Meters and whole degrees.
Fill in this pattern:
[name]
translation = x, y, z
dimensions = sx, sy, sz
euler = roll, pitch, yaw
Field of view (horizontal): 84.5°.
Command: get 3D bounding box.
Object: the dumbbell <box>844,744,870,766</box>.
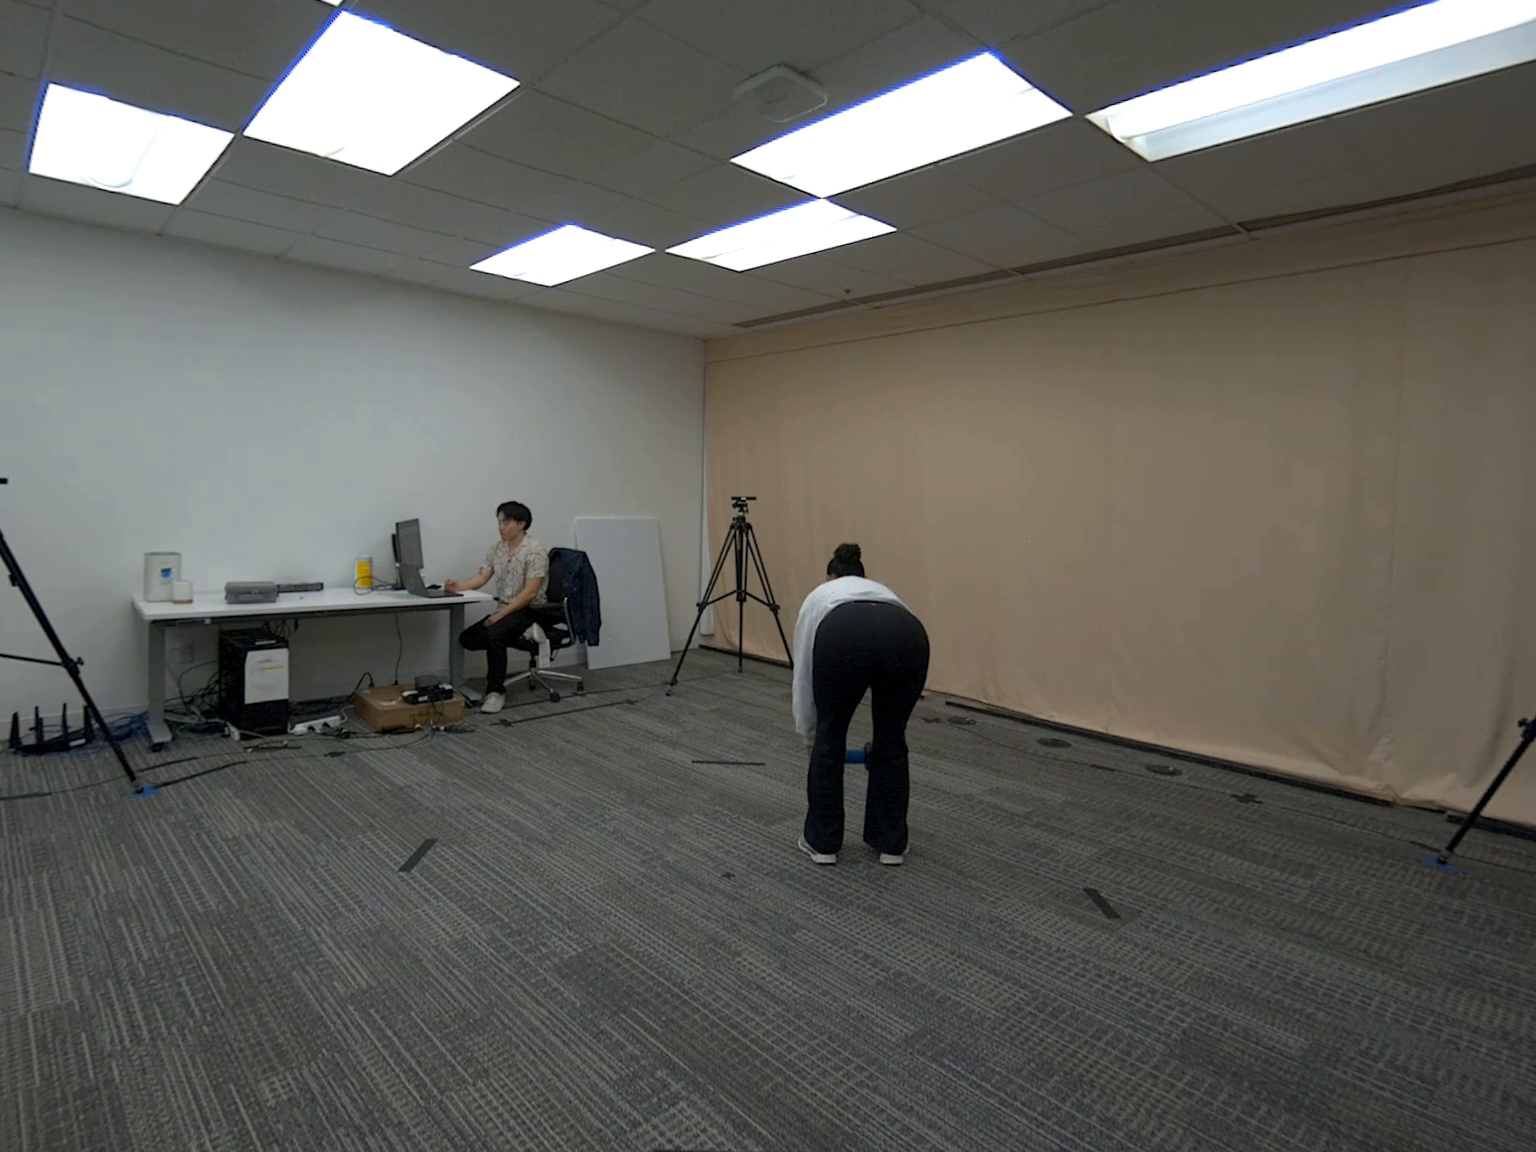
[dumbbell]
translation = 0.341, 0.754, 3.517
dimensions = 0.292, 0.111, 0.120
euler = -2, -35, -4
